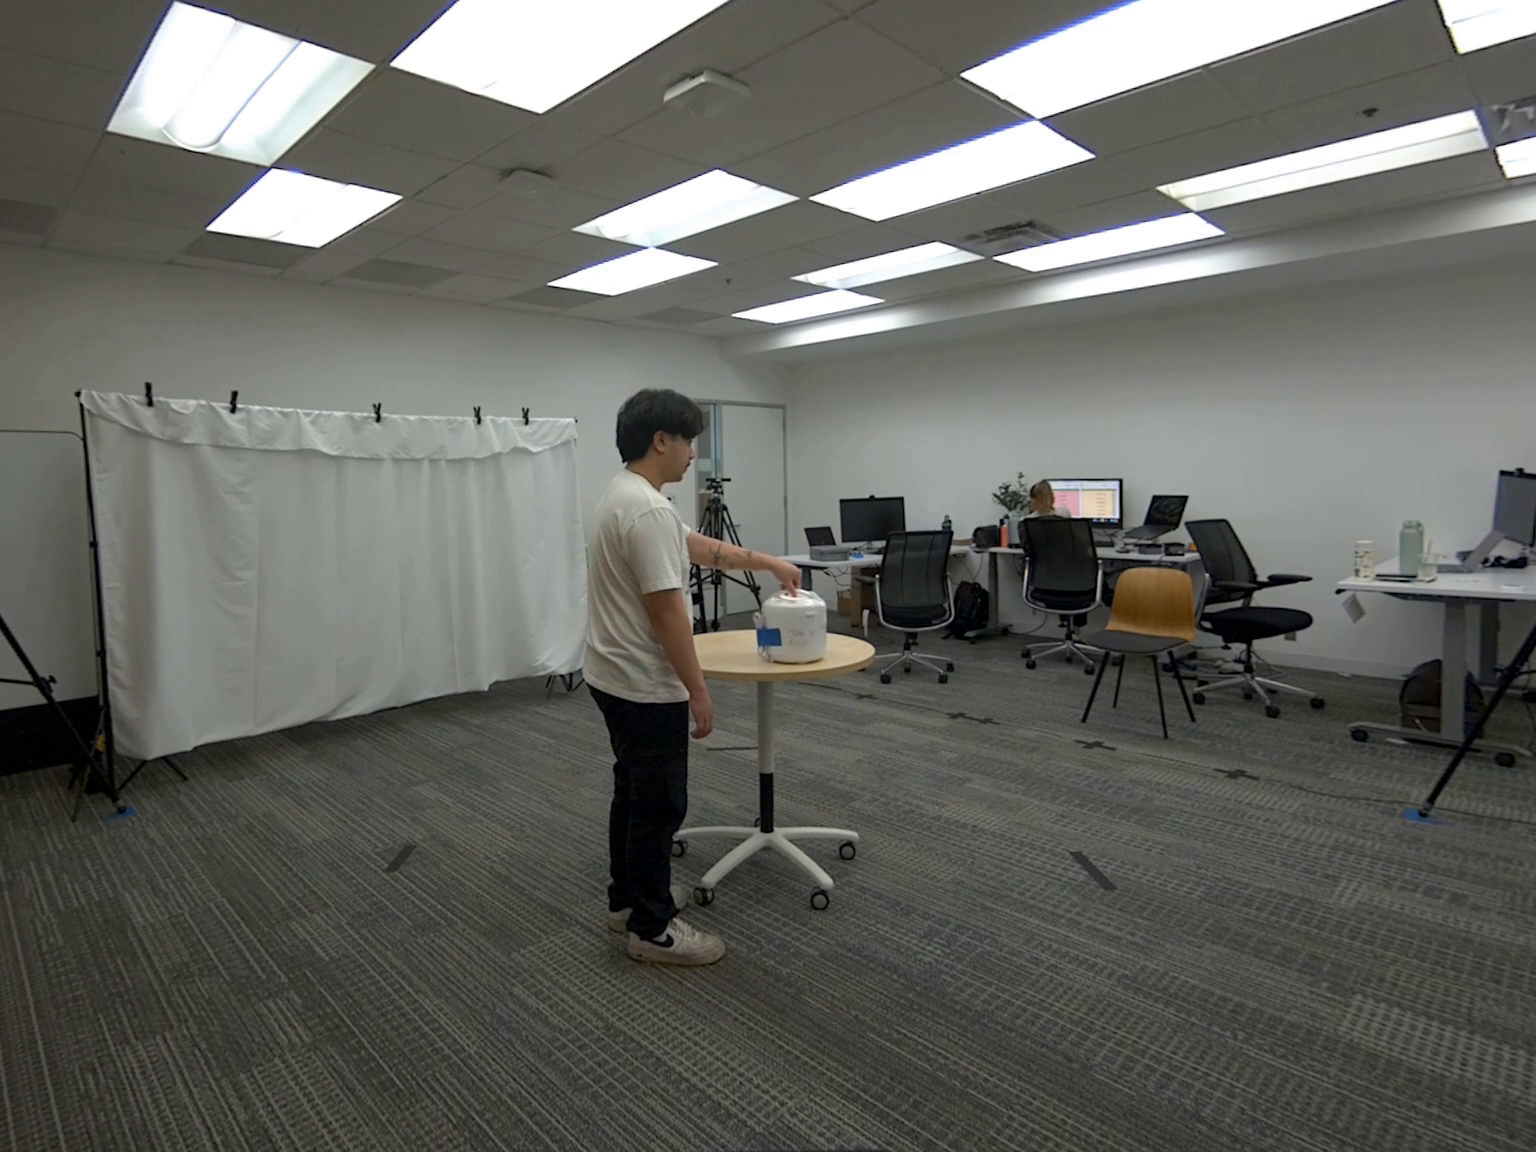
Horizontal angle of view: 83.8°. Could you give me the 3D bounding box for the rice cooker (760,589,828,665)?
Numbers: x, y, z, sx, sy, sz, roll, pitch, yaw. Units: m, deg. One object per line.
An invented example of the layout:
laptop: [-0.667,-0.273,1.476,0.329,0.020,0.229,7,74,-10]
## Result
rice cooker: [0.089,0.158,2.819,0.226,0.232,0.213,2,6,26]
